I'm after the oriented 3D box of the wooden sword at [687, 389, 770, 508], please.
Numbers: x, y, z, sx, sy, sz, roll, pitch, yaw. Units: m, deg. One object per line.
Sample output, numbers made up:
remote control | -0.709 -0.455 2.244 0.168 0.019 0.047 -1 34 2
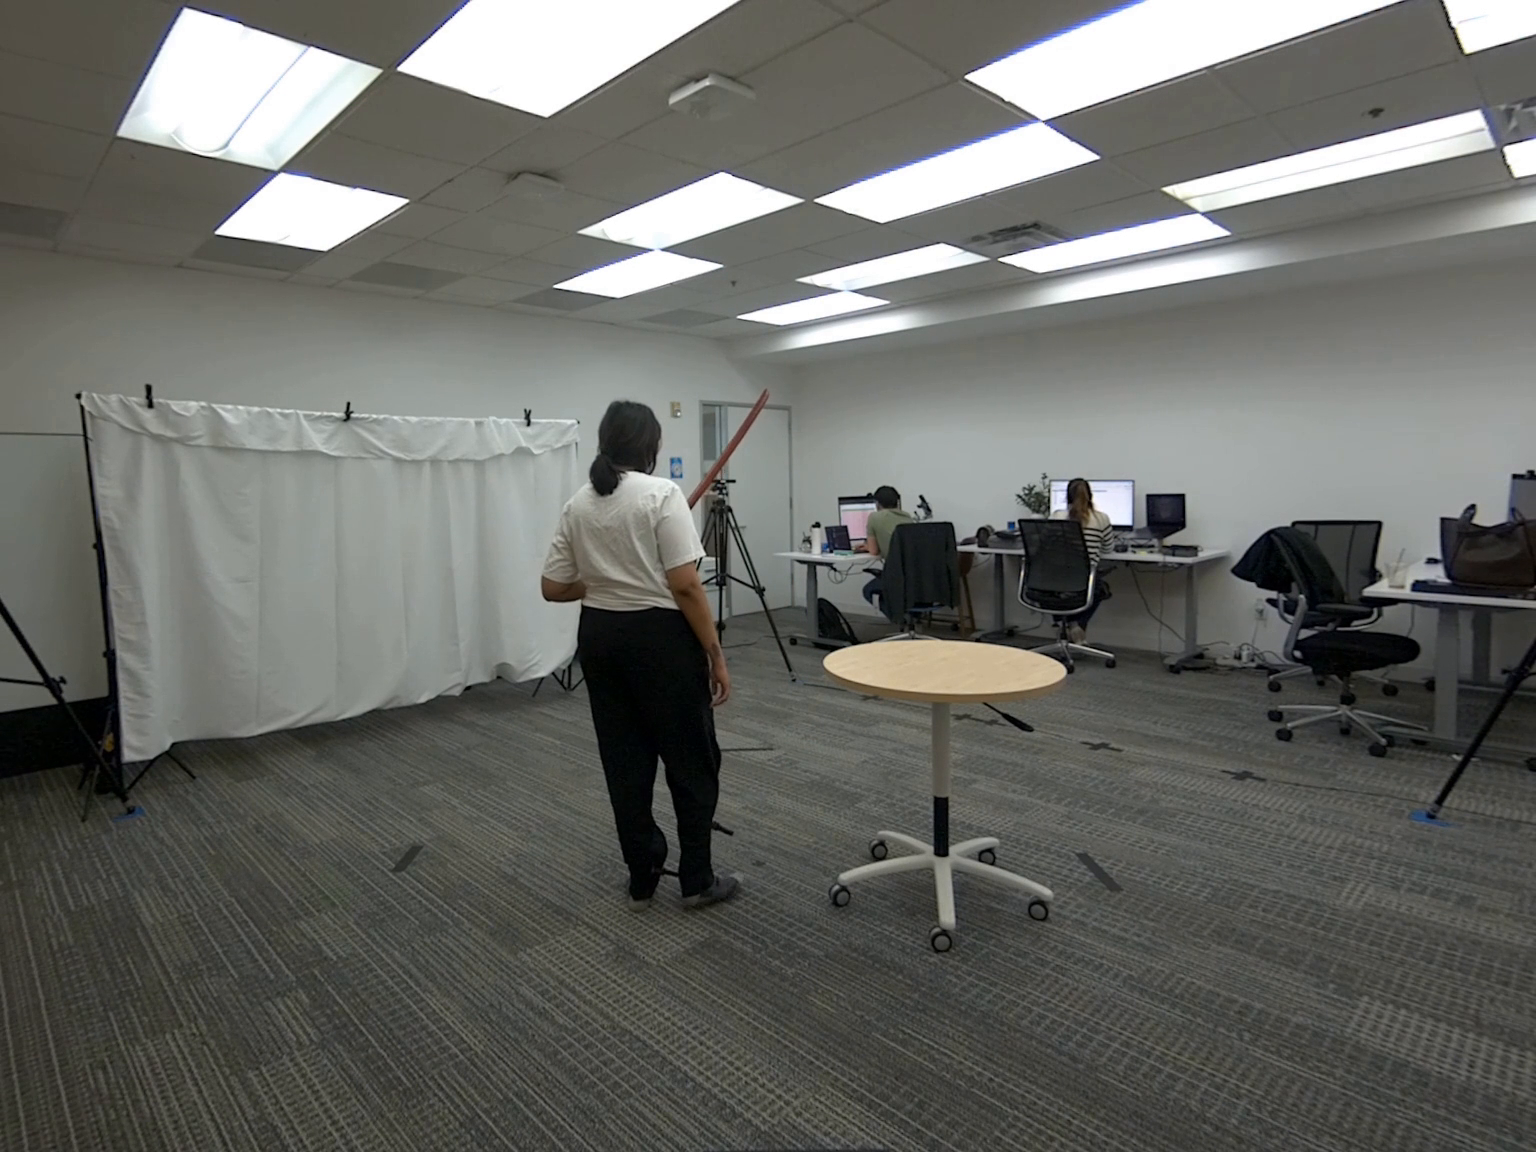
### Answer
wooden sword | -0.232 -0.341 3.201 0.053 1.030 0.023 6 -34 47
